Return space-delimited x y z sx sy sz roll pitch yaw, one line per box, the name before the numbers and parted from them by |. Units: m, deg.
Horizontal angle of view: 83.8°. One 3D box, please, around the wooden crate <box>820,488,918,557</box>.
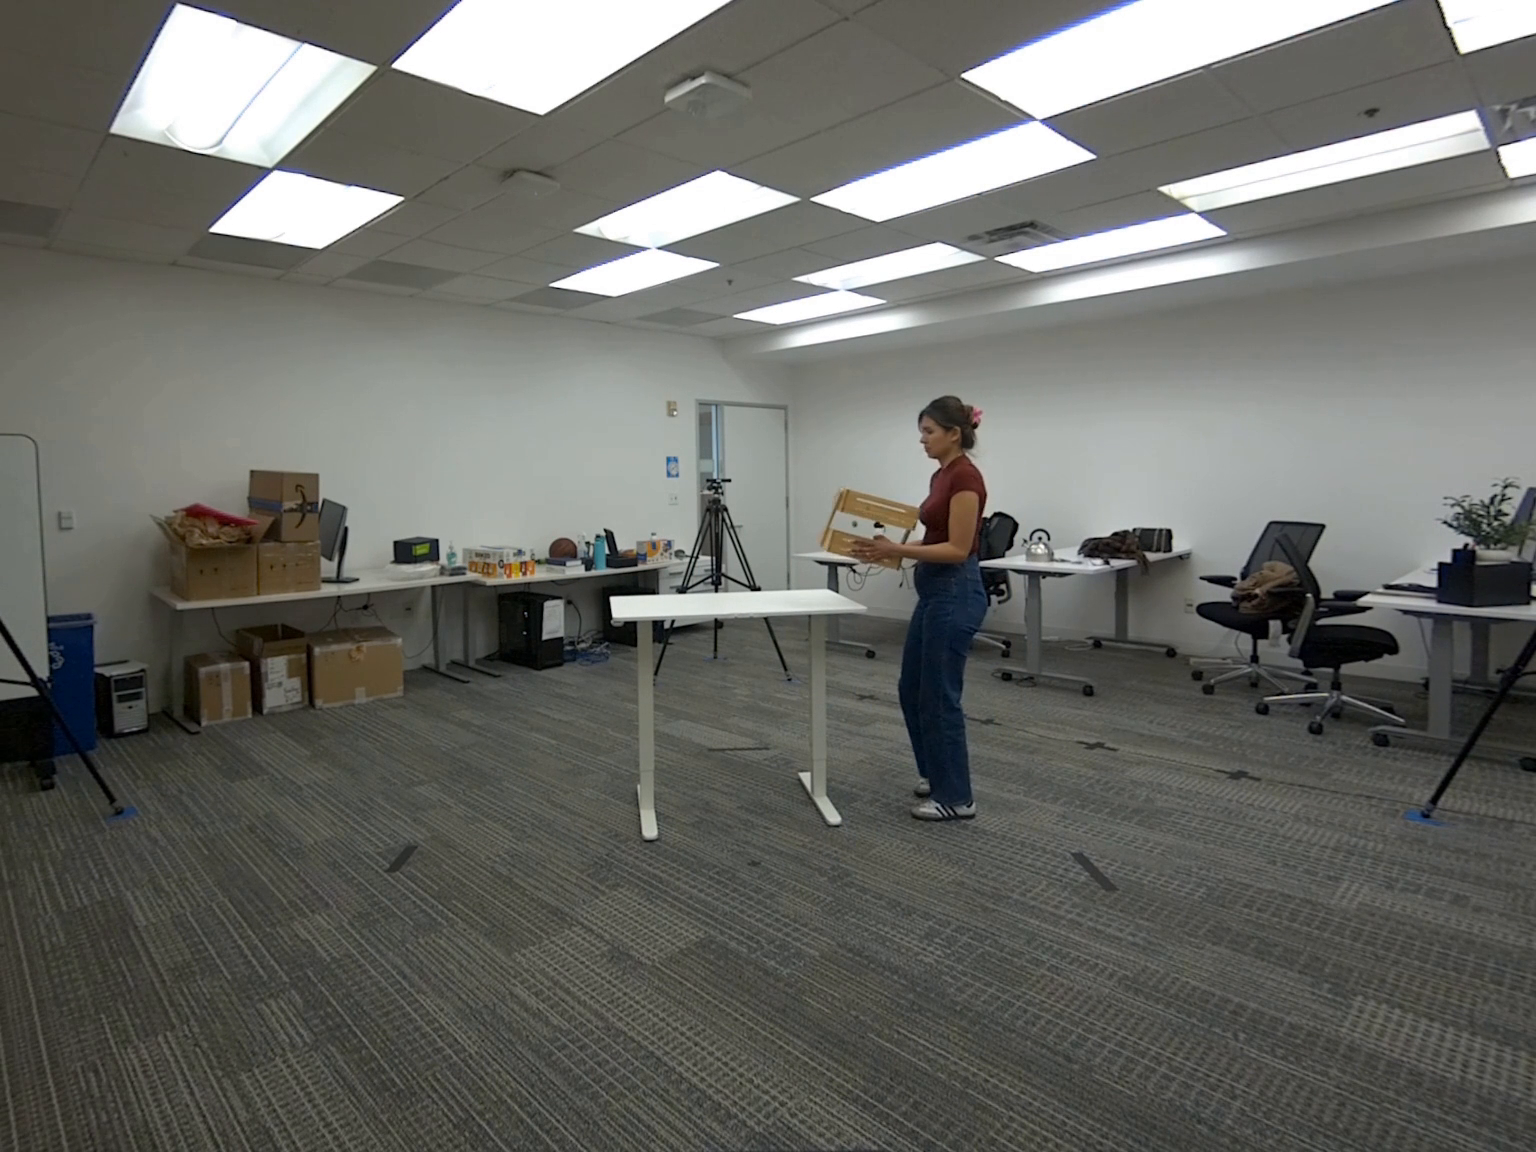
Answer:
wooden crate | 0.410 -0.202 3.455 0.322 0.272 0.305 14 6 -7
